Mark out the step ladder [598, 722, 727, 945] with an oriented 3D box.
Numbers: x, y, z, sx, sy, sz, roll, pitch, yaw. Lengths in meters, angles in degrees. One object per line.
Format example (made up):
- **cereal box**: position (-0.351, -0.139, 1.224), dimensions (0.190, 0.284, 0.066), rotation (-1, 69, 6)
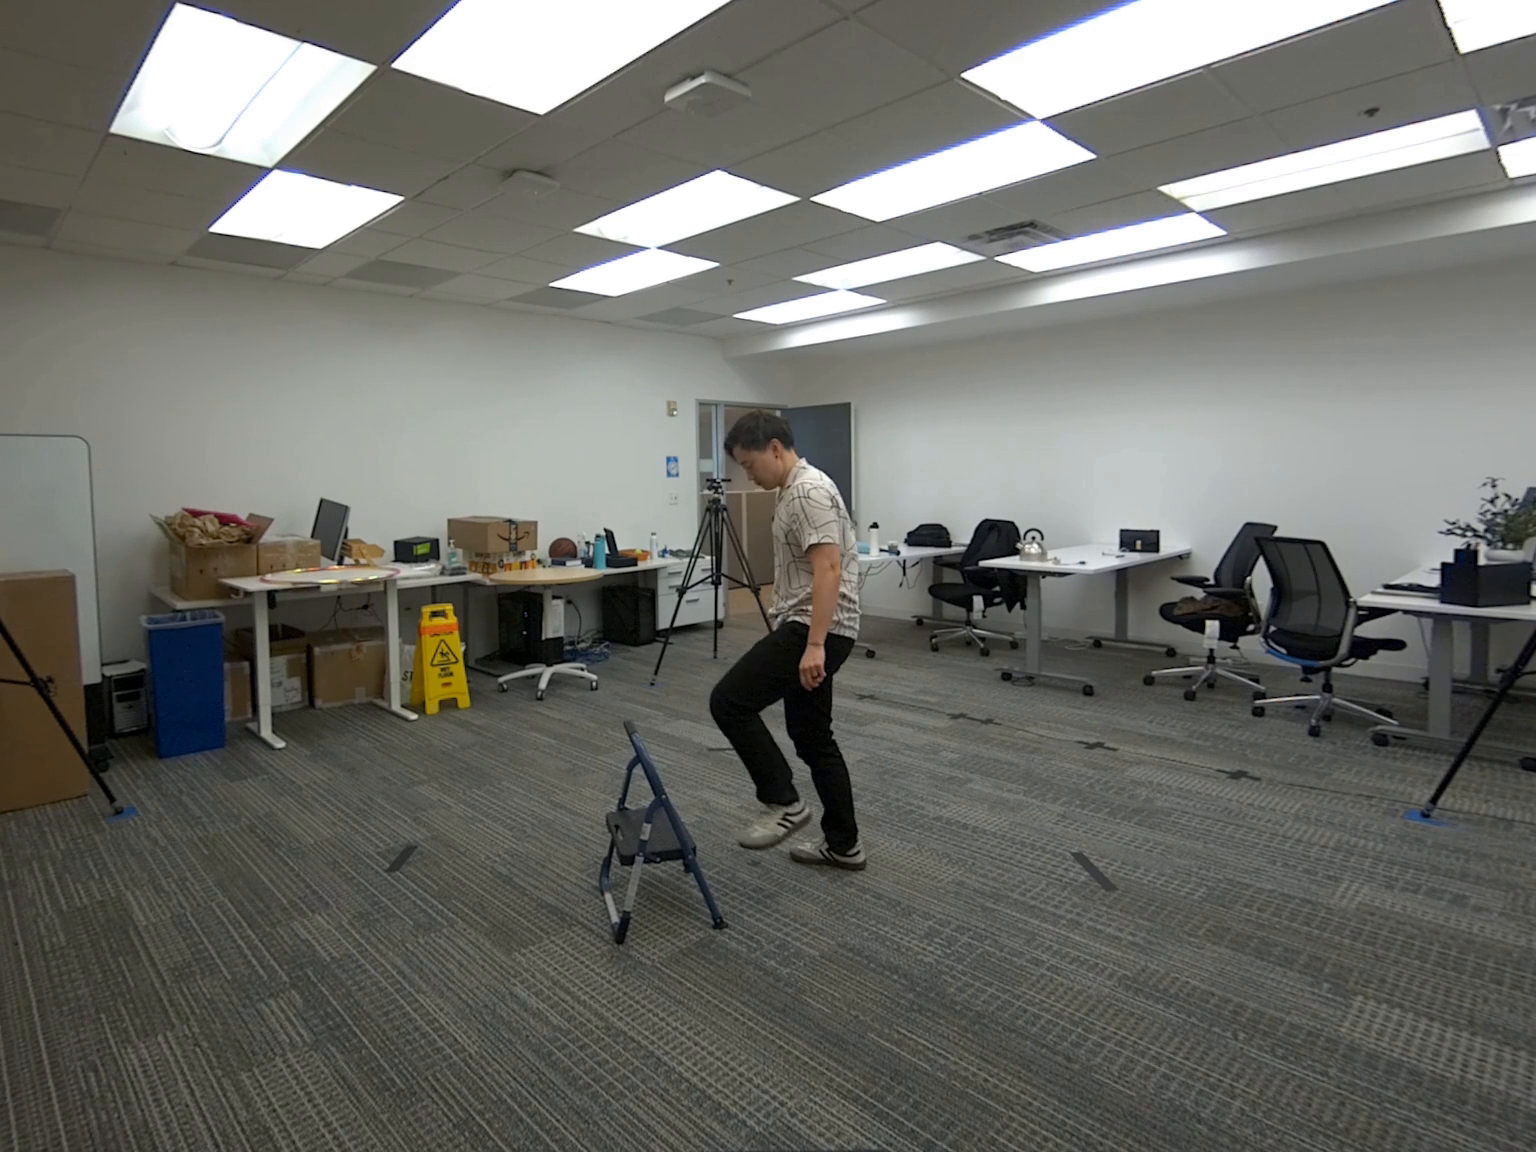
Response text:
- **step ladder**: position (-0.361, 0.782, 2.797), dimensions (0.344, 0.604, 0.439), rotation (-3, 5, -18)
